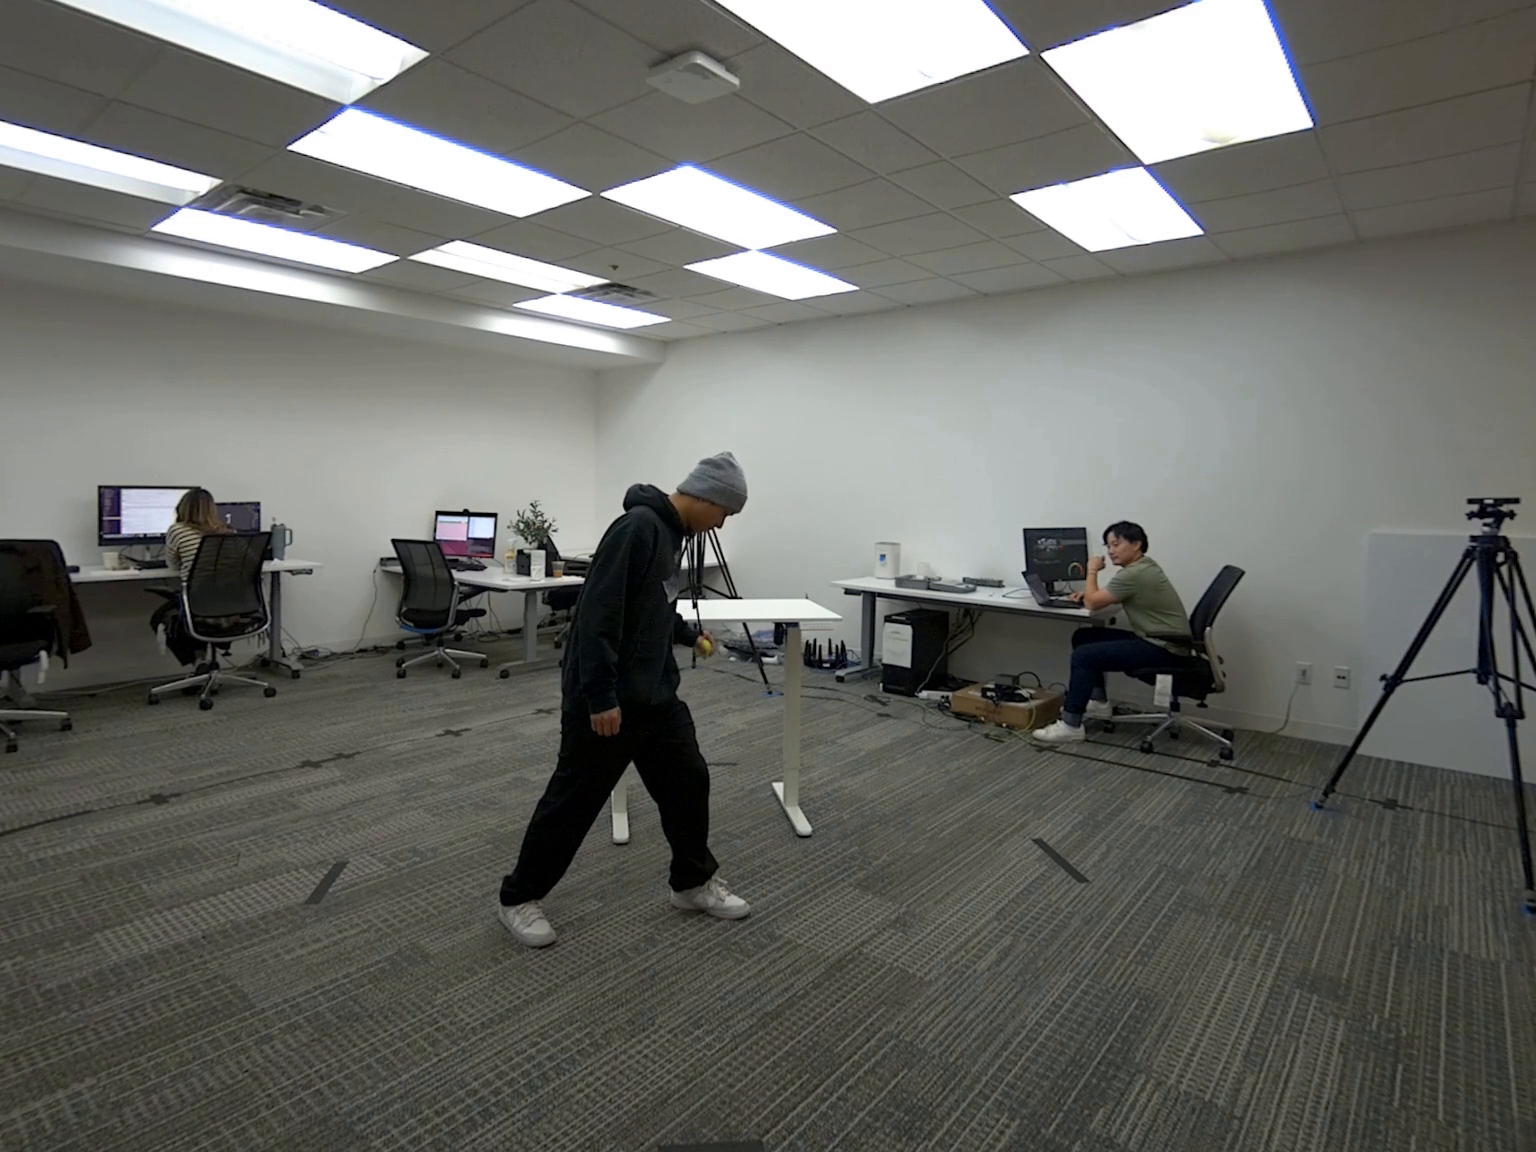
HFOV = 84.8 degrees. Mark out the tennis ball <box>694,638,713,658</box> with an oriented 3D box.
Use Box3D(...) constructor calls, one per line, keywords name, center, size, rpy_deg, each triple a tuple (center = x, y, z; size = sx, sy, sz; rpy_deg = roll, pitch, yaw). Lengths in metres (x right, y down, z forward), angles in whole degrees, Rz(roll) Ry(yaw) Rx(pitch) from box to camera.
Box3D(name="tennis ball", center=(-0.241, 0.236, 3.065), size=(0.066, 0.066, 0.067), rpy_deg=(1, 4, -2))
